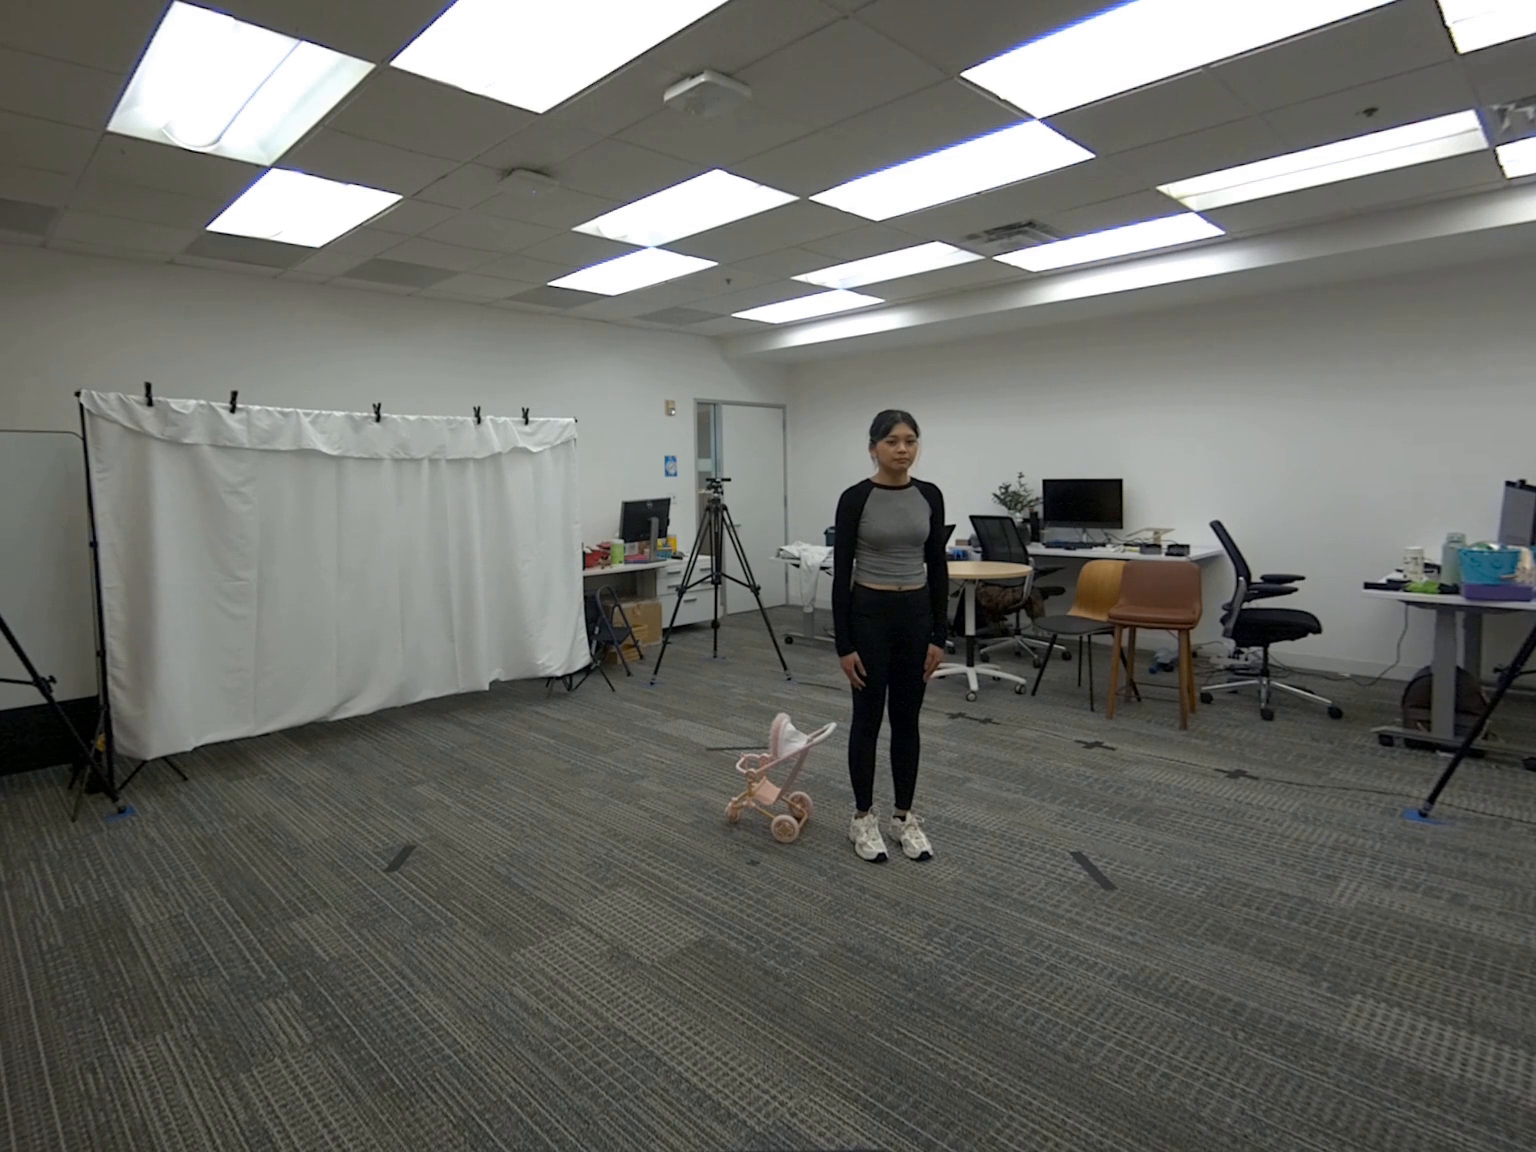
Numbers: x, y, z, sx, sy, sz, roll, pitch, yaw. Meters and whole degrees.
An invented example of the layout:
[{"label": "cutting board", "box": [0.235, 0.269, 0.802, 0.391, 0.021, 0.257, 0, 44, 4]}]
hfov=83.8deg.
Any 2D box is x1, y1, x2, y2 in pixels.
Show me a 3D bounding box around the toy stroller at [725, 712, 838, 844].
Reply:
[{"label": "toy stroller", "box": [0.037, 0.784, 3.399, 0.350, 0.531, 0.276, 19, 12, 20]}]
